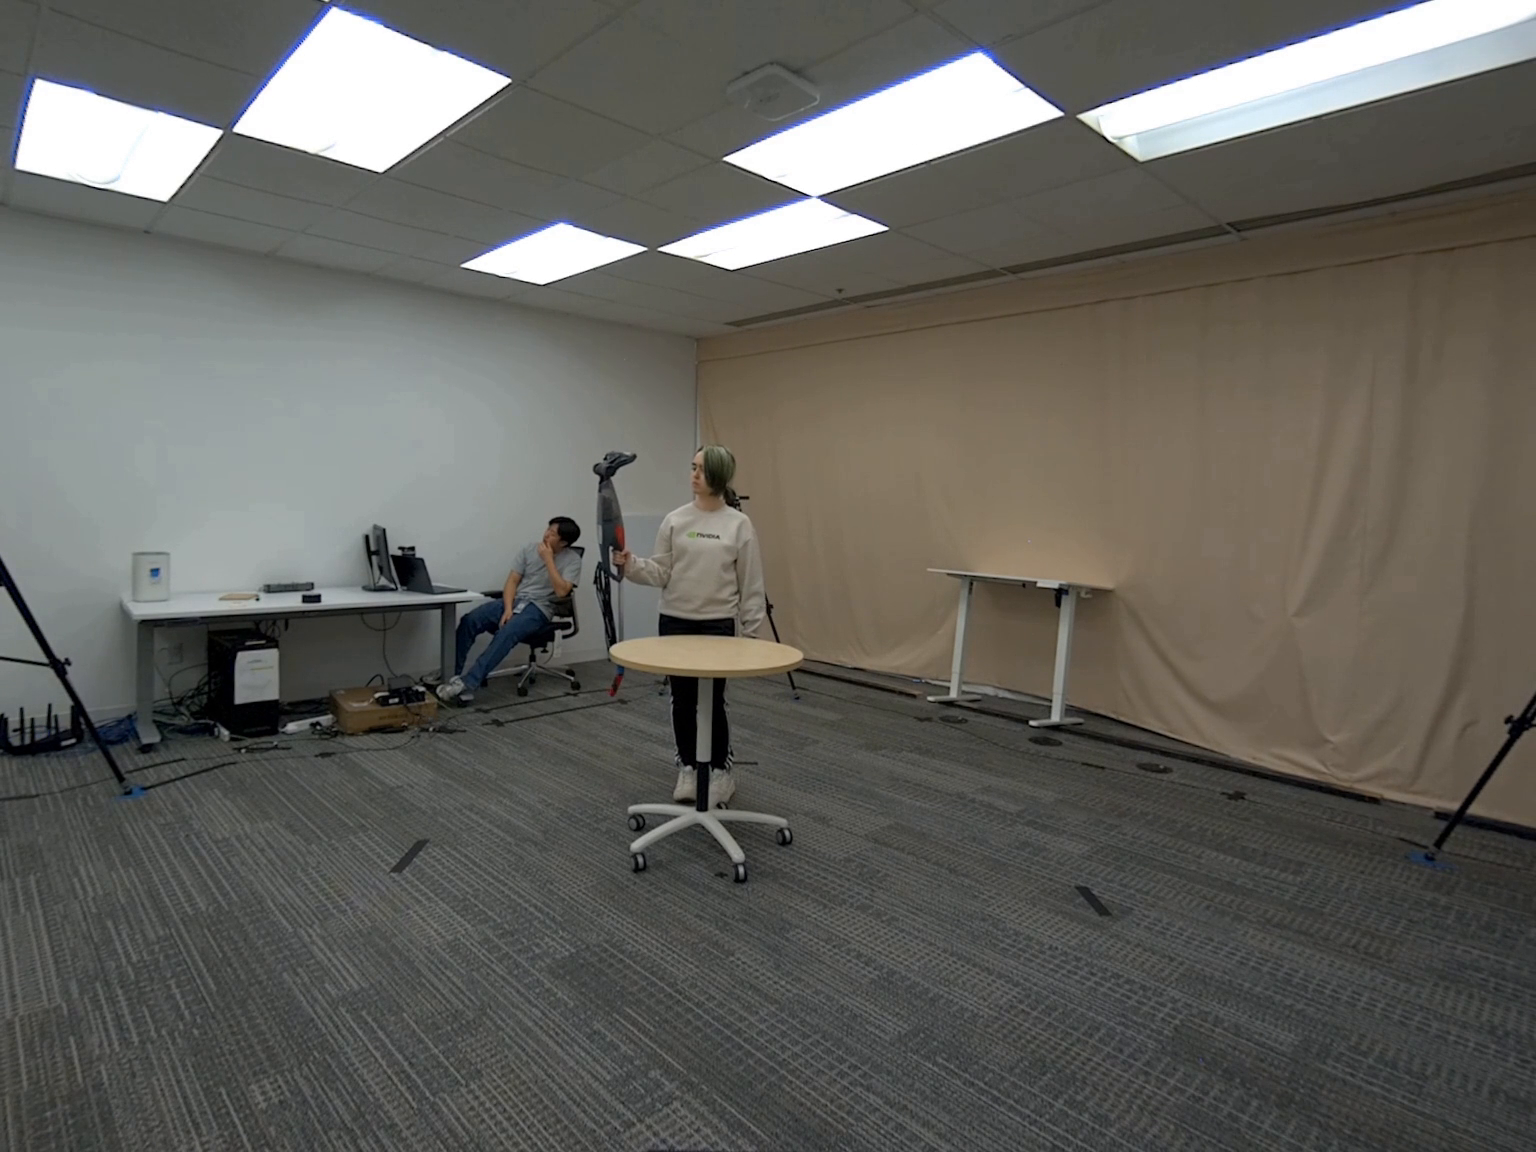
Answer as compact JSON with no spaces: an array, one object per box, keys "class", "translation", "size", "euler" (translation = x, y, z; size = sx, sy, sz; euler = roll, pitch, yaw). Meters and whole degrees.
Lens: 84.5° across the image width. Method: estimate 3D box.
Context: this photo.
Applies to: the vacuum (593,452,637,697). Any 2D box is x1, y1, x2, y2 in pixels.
[{"class":"vacuum","translation":[-0.706,0.013,3.717],"size":[0.141,1.044,0.259],"euler":[-2,8,-33]}]
